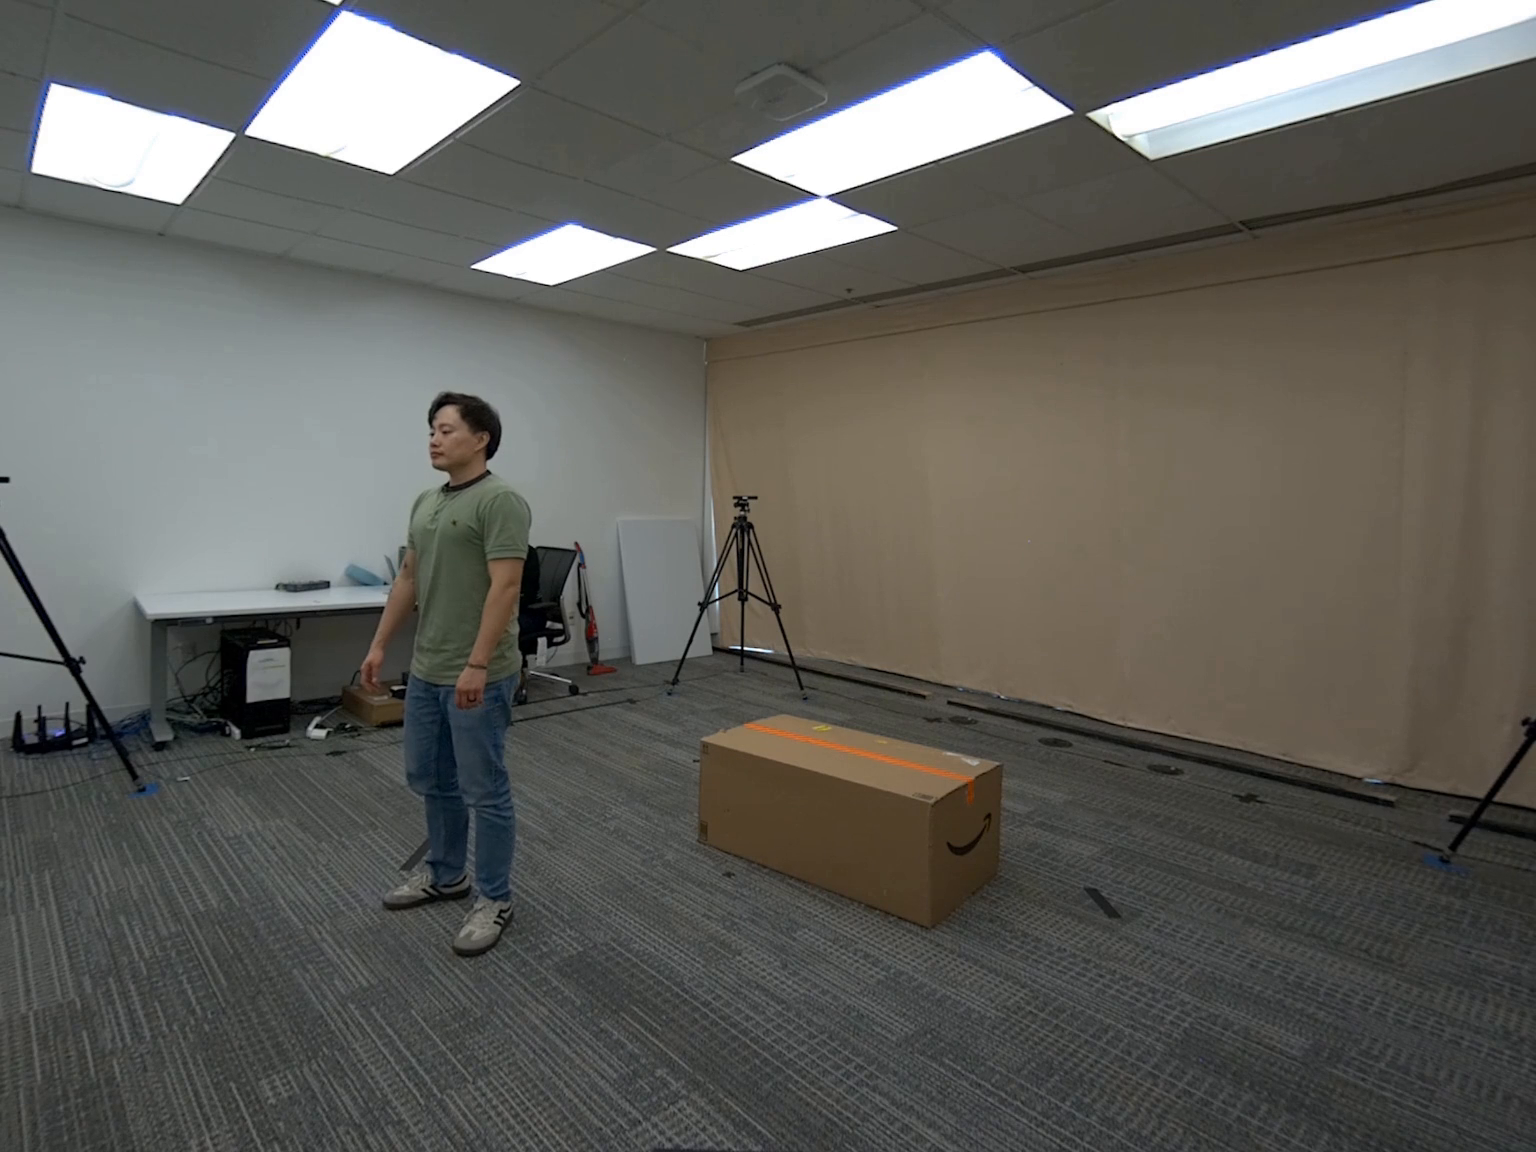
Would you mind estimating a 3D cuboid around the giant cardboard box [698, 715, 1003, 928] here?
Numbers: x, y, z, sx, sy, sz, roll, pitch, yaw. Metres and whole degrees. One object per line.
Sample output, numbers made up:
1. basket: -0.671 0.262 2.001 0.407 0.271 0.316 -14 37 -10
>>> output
1. giant cardboard box: 0.290 0.885 3.269 1.051 0.425 0.564 5 5 39
